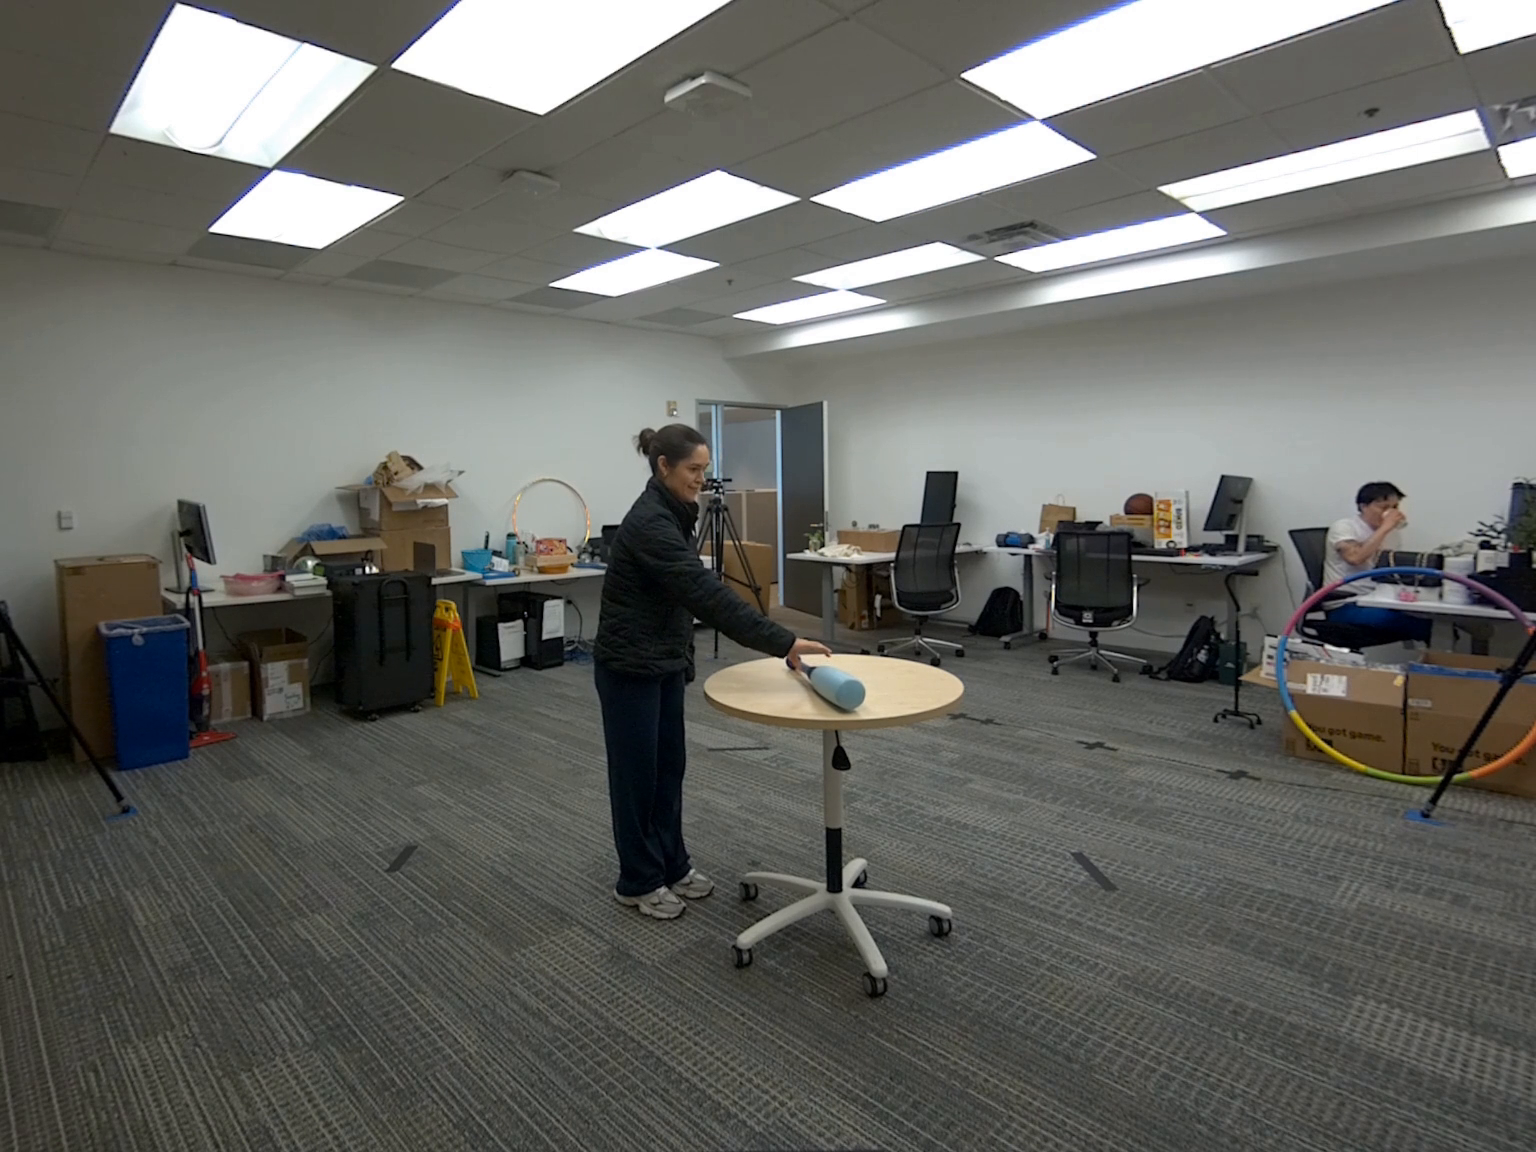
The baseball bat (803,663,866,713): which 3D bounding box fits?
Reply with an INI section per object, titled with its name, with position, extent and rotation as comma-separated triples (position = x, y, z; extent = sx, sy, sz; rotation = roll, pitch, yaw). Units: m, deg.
[baseball bat]
position = 0.175, 0.299, 2.484
extent = 0.088, 0.089, 0.550
rotation = -2, 3, -13
